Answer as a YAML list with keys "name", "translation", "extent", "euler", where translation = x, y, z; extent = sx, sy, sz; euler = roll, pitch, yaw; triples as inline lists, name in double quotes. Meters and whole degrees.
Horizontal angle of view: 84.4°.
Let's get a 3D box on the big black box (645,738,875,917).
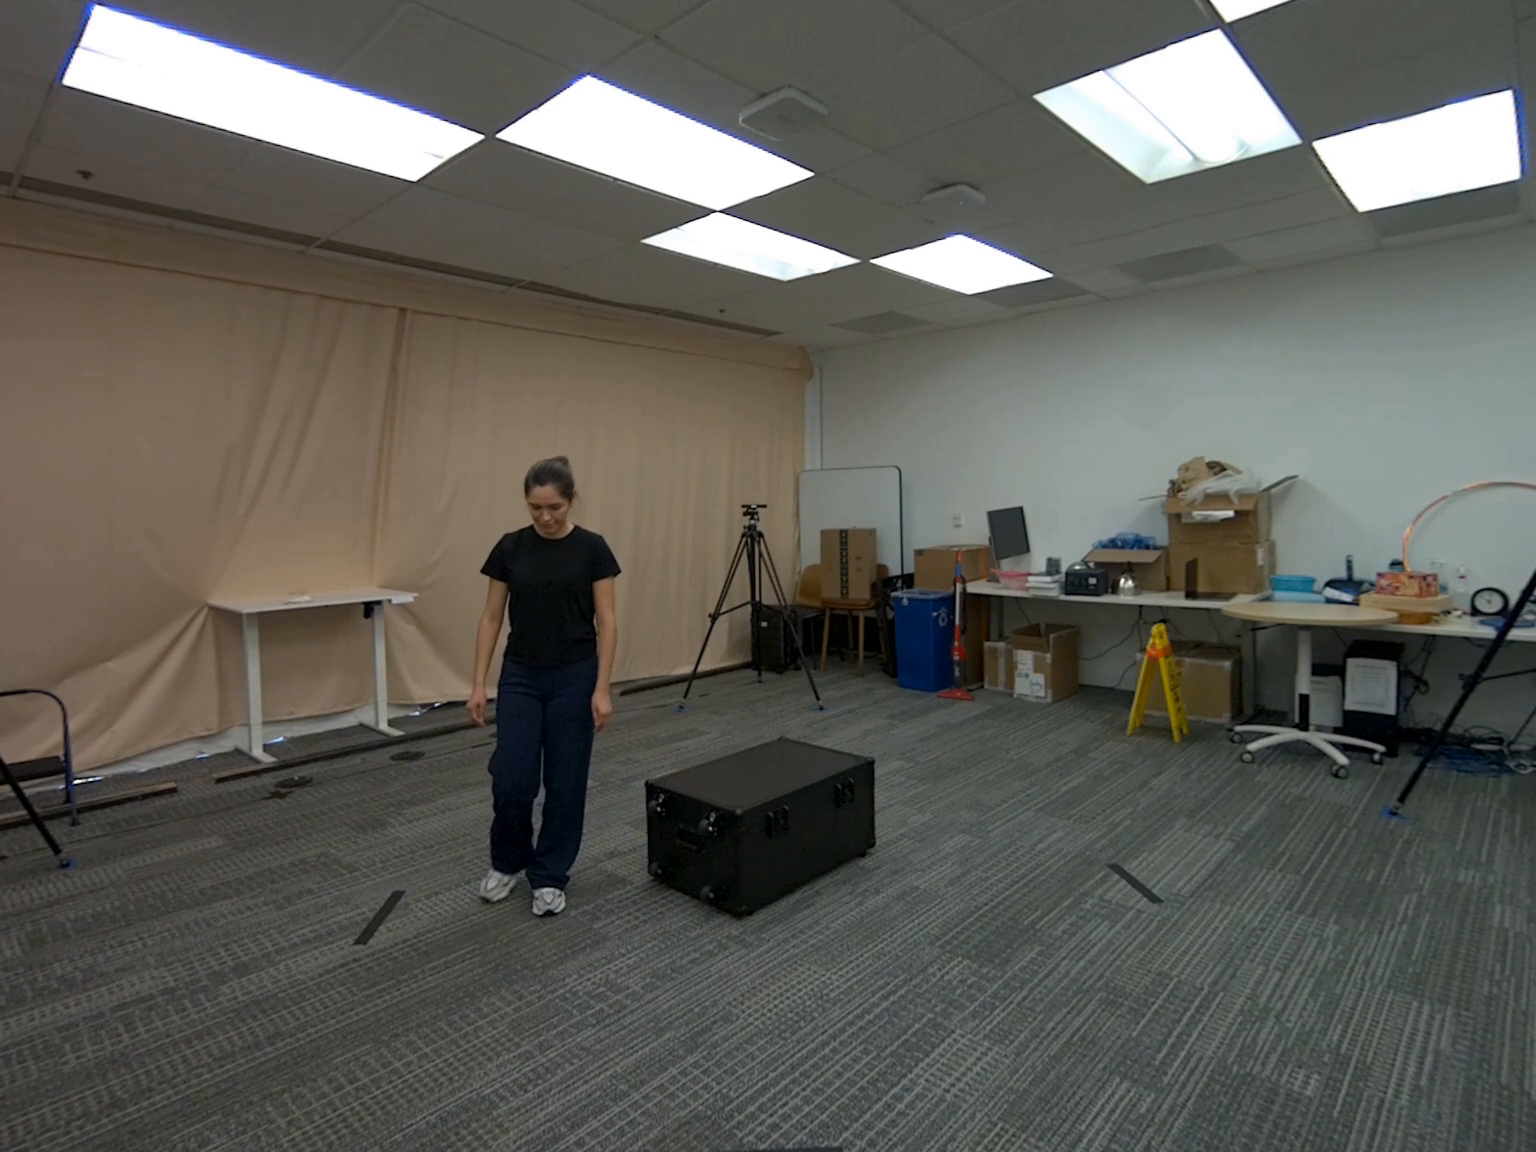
- name: "big black box"
  translation: [-0.022, 0.929, 3.218]
  extent: [0.538, 0.395, 0.835]
  euler: [2, 6, 43]
